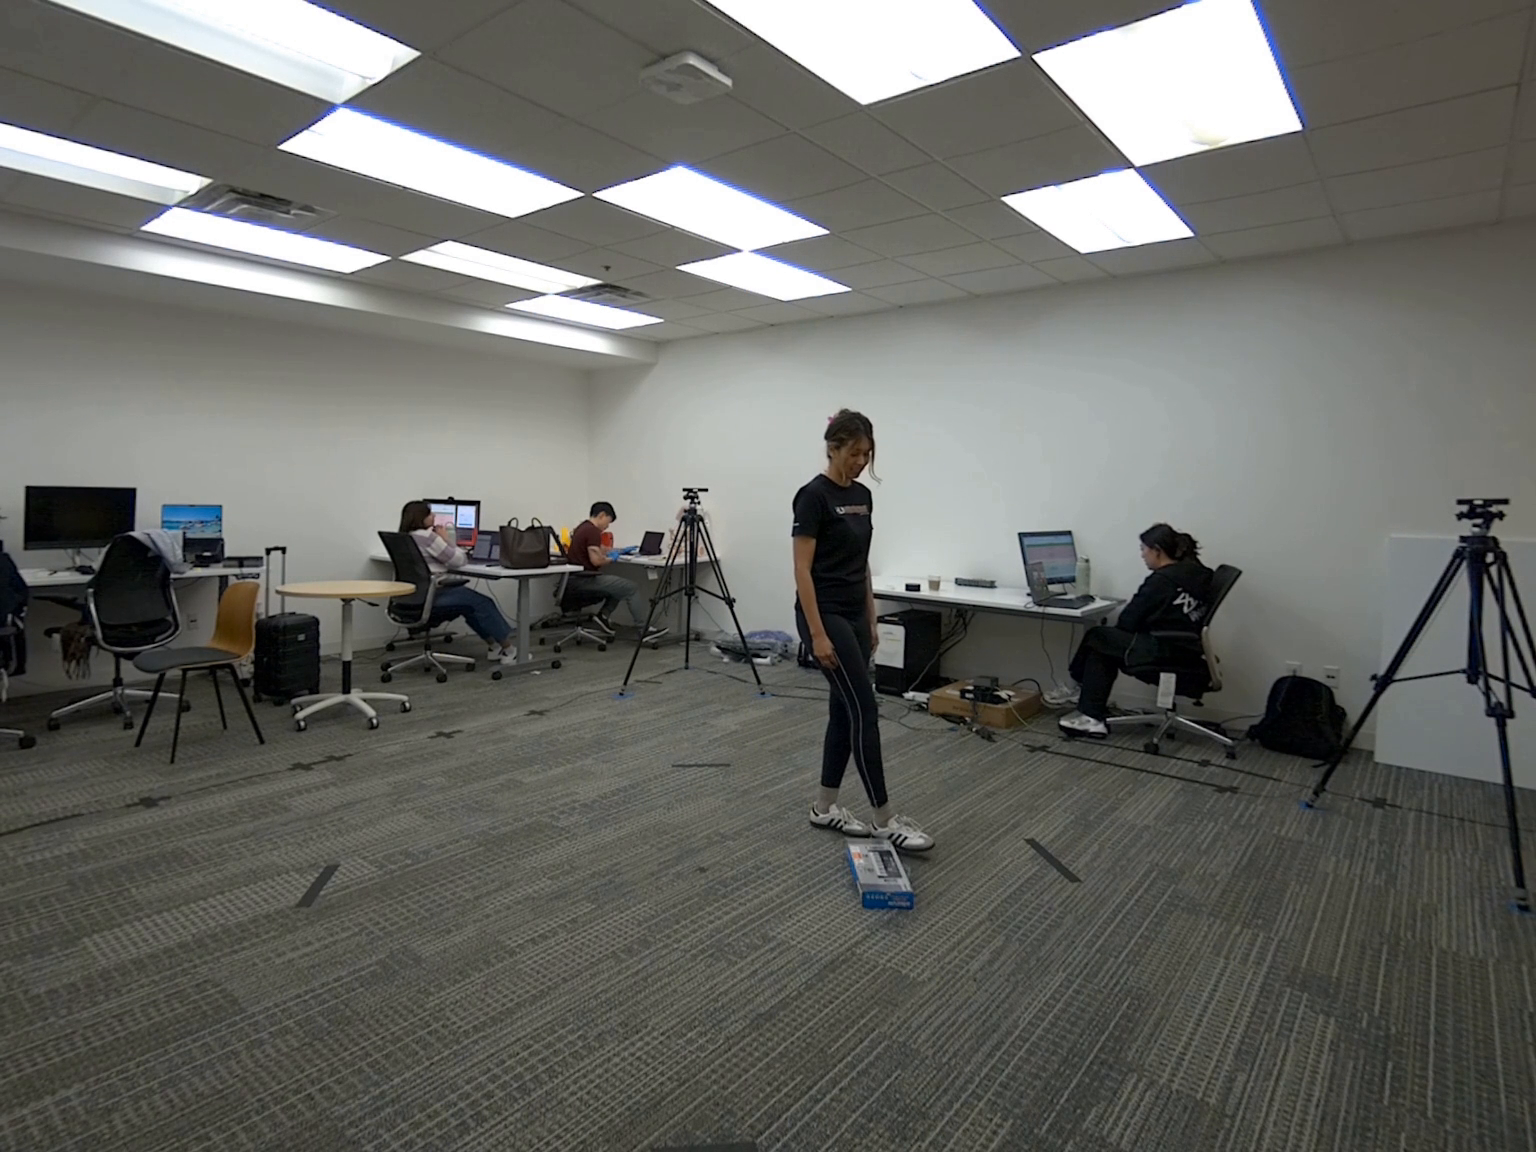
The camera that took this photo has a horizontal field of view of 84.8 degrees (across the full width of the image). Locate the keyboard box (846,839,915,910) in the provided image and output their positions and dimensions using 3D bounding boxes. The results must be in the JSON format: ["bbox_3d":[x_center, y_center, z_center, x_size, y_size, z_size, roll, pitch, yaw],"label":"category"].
[{"bbox_3d":[0.386,1.057,3.064,0.176,0.059,0.439,1,6,-2],"label":"keyboard box"}]
